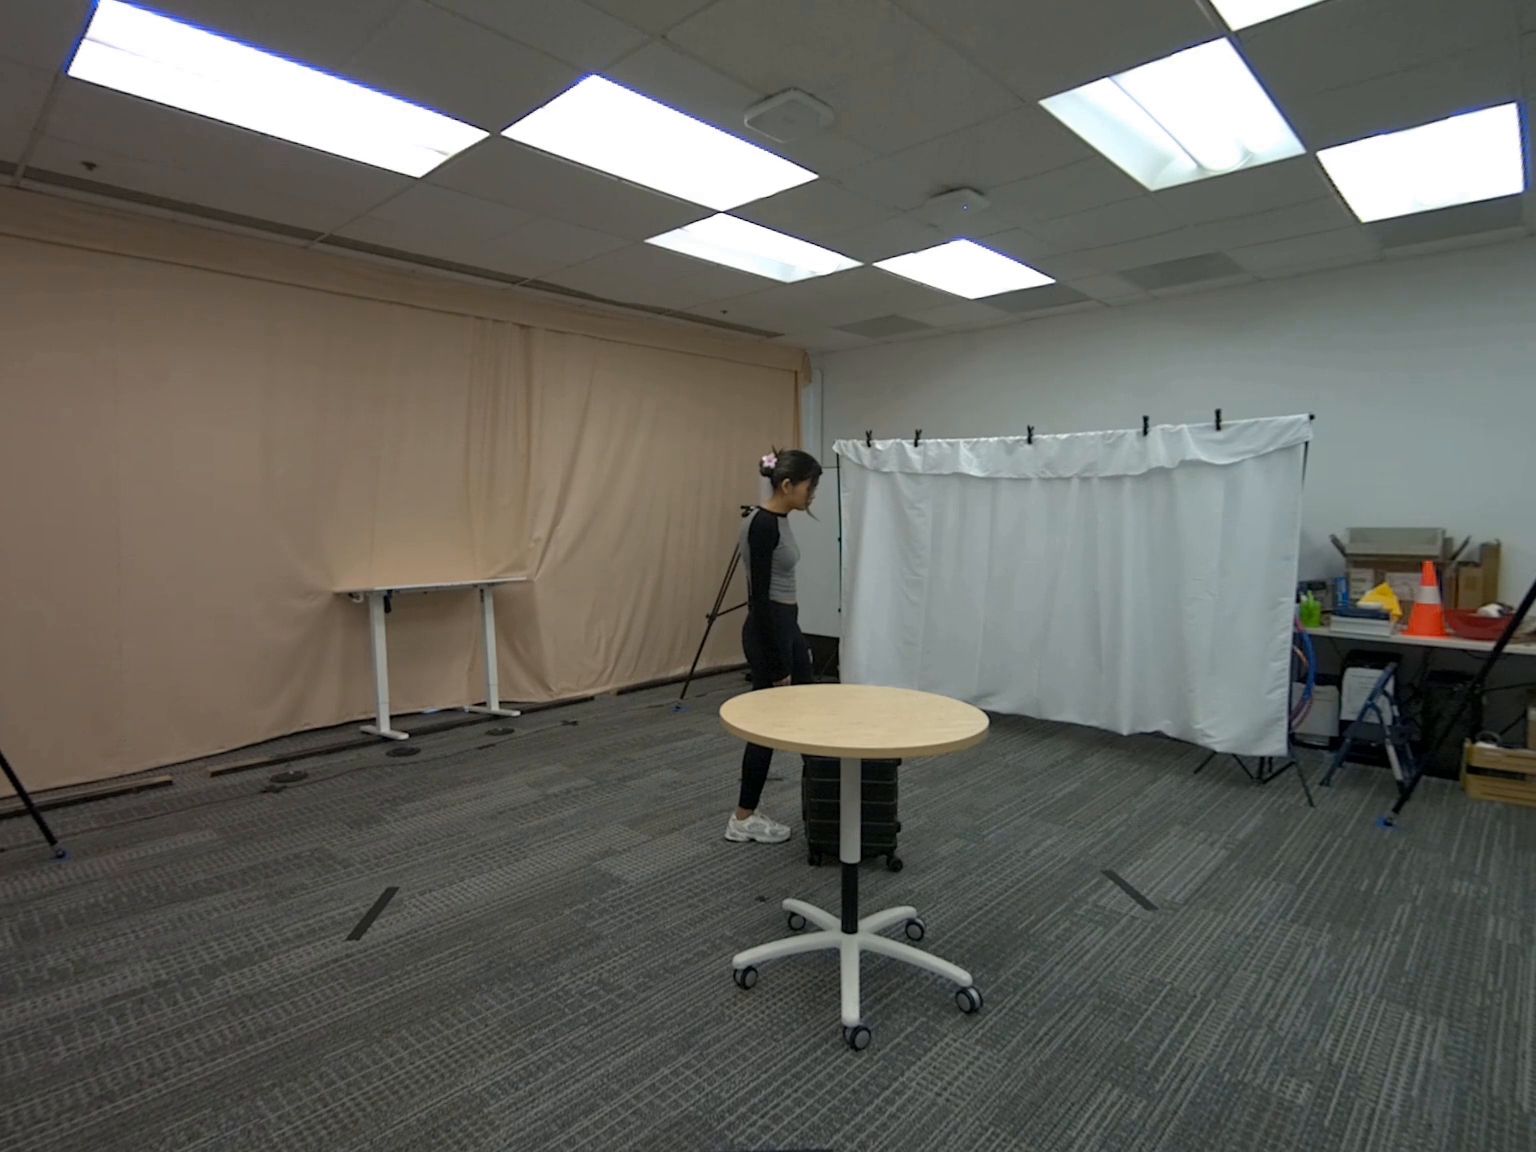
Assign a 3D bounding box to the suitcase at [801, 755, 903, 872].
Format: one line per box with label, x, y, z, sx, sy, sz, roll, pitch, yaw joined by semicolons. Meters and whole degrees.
suitcase;0.333;0.845;3.327;0.378;0.549;0.247;0;2;6
